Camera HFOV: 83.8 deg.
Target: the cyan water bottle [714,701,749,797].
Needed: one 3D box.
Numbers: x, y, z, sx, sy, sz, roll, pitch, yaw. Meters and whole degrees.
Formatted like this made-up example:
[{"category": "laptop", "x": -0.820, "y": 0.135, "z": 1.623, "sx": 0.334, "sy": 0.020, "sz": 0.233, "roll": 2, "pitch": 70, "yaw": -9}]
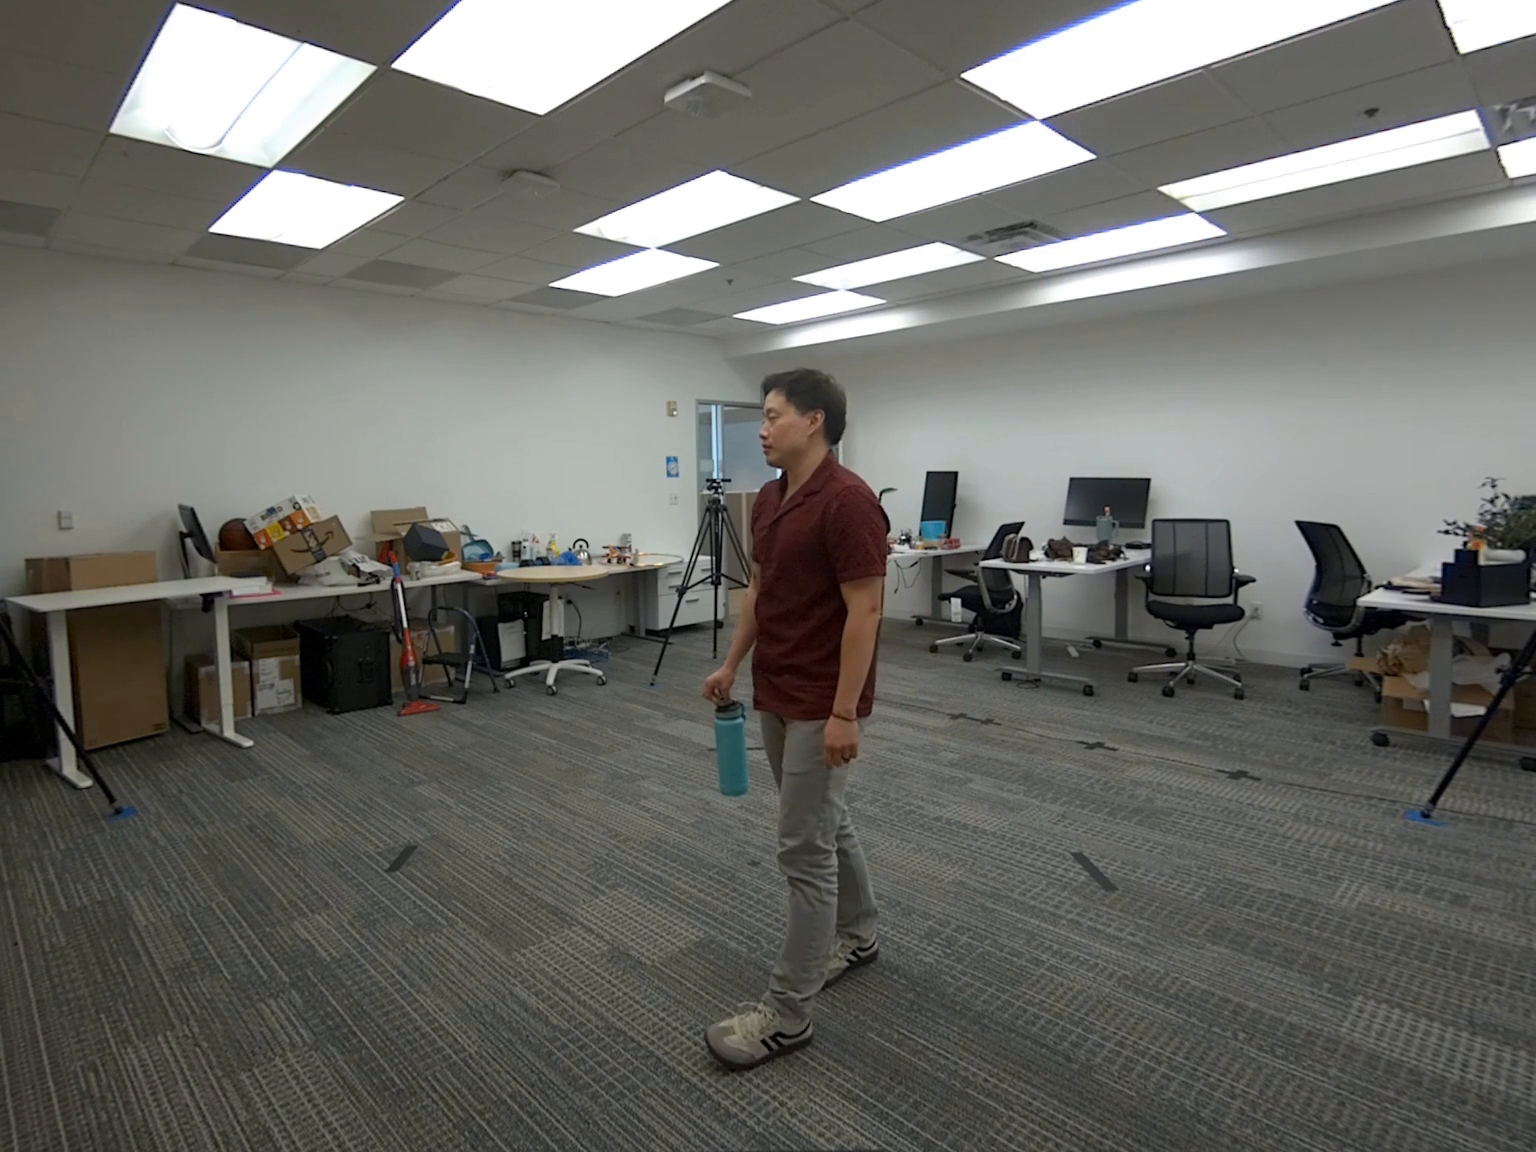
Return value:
[{"category": "cyan water bottle", "x": -0.102, "y": 0.496, "z": 2.511, "sx": 0.092, "sy": 0.282, "sz": 0.093, "roll": -4, "pitch": 6, "yaw": -1}]
